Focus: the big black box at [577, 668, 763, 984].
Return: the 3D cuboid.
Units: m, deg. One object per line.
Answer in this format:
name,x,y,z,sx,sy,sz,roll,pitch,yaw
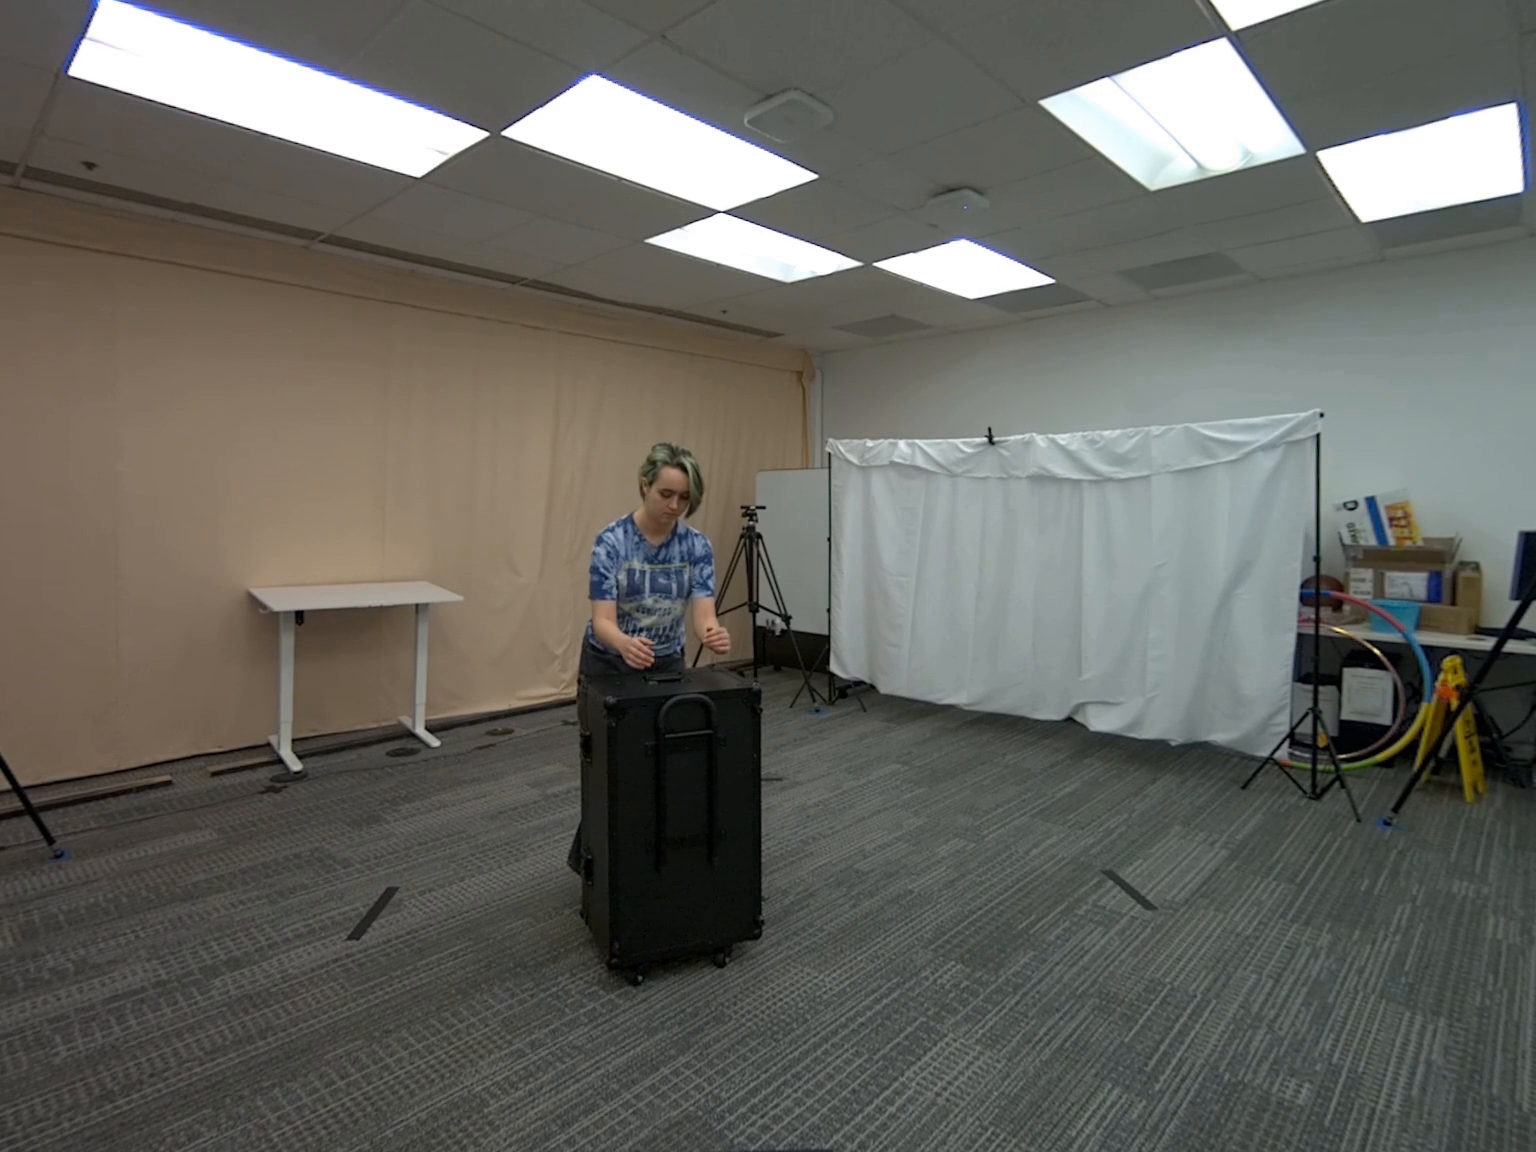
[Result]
big black box,-0.301,0.689,2.610,0.509,0.860,0.406,-1,3,-23
